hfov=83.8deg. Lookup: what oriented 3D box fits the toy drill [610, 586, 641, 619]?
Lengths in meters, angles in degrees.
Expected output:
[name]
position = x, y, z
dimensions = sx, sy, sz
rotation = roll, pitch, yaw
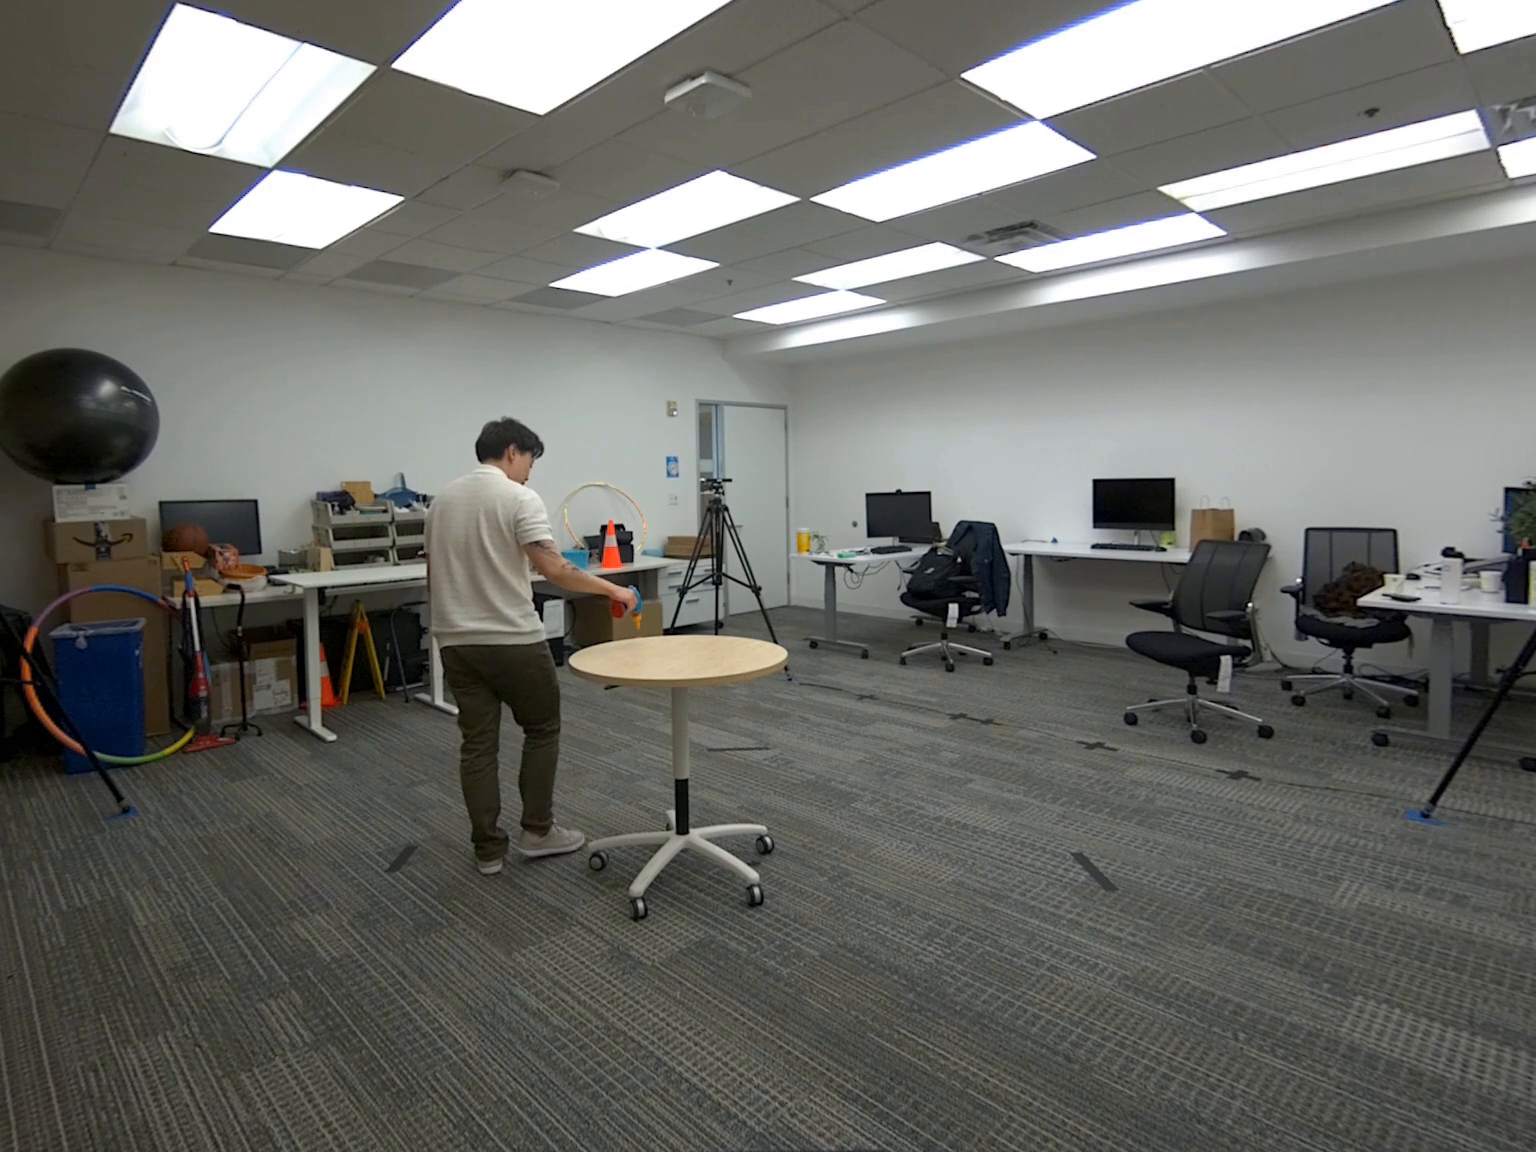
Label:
[toy drill]
position = -0.510, 0.133, 3.152
dimensions = 0.062, 0.167, 0.145
rotation = -2, 16, 24
